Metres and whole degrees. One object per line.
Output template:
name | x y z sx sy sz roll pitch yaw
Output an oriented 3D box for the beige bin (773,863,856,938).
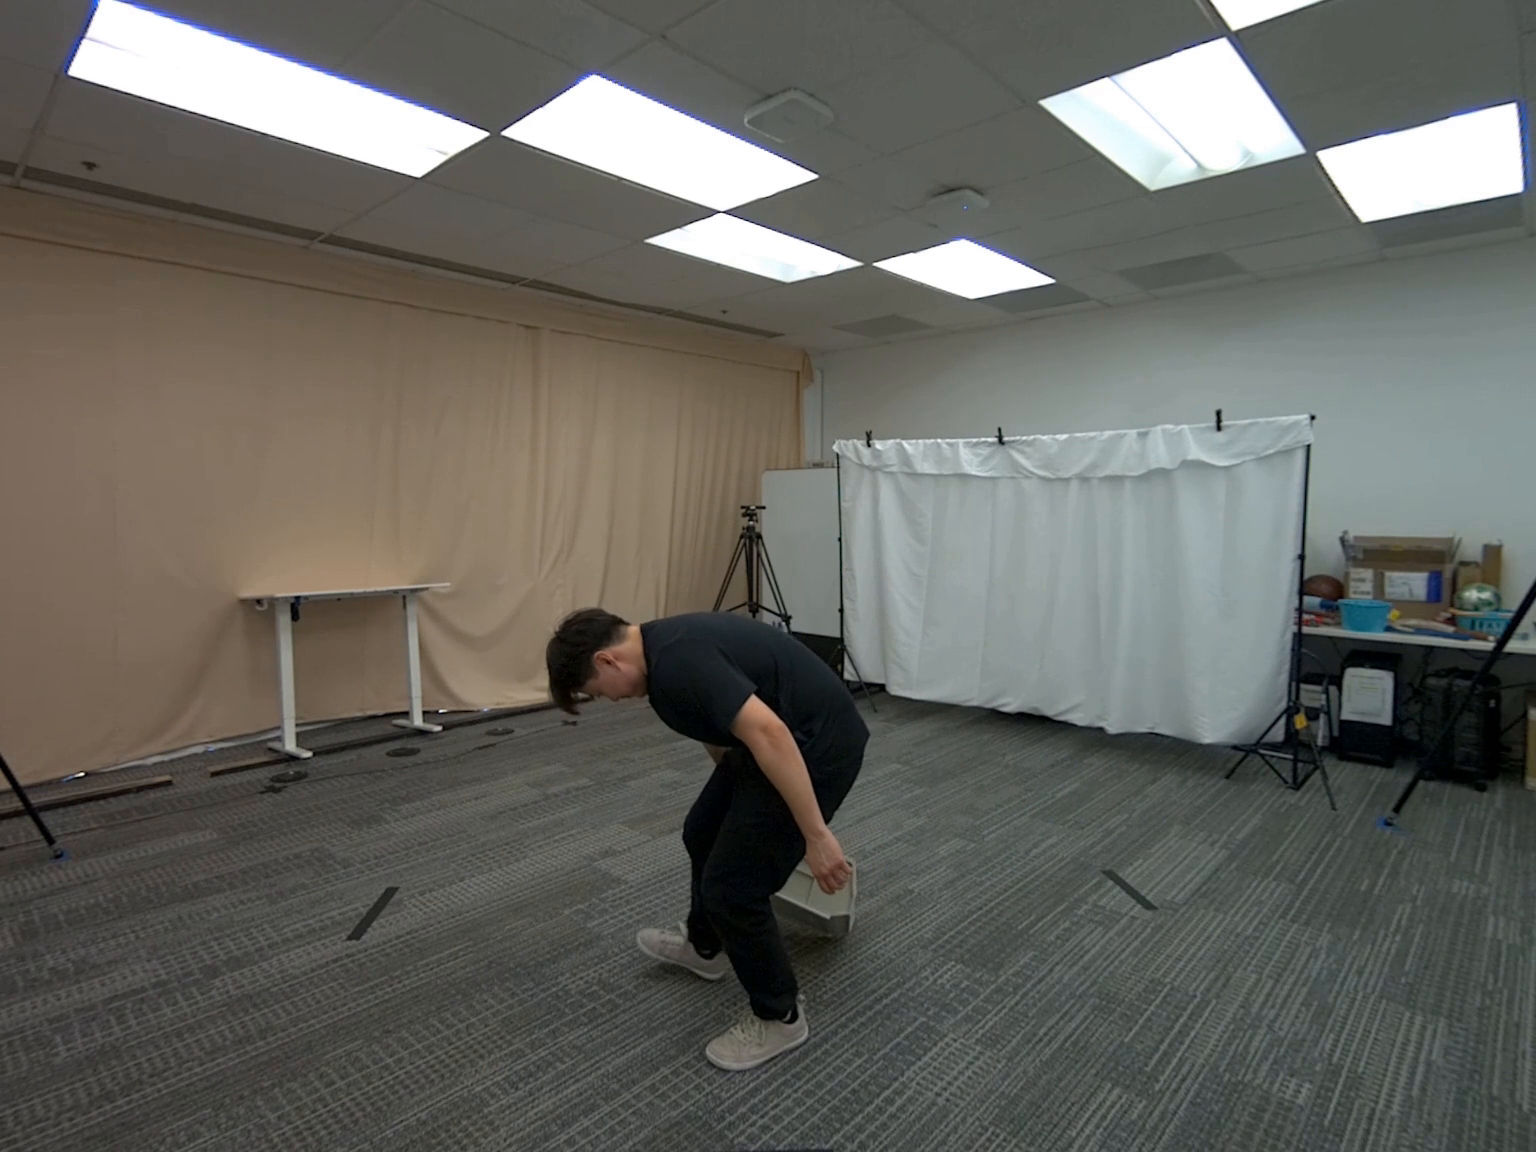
beige bin | 0.096 0.959 2.629 0.384 0.189 0.413 16 -27 15
